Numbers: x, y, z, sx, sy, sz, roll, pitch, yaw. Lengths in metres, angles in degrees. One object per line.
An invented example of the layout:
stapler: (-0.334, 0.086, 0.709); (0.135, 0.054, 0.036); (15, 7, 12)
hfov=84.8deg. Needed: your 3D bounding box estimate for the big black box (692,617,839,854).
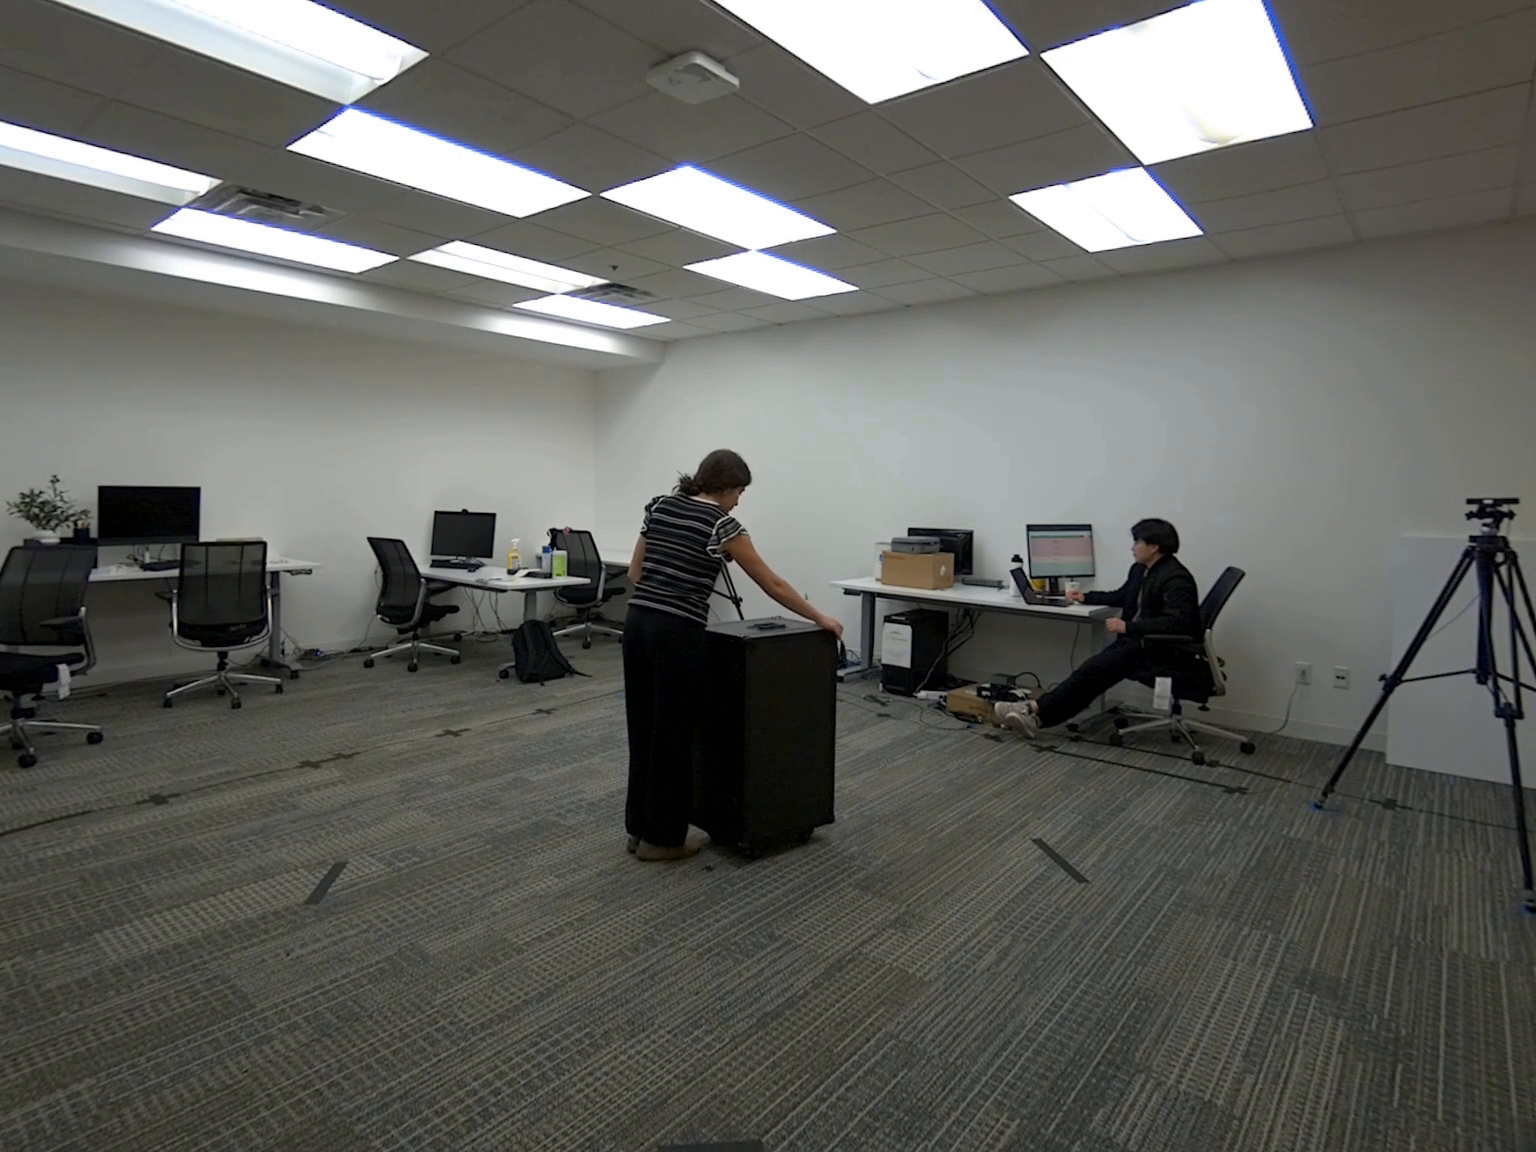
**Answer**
big black box: (-0.037, 0.624, 3.375); (0.506, 0.859, 0.409); (-2, 3, -40)
